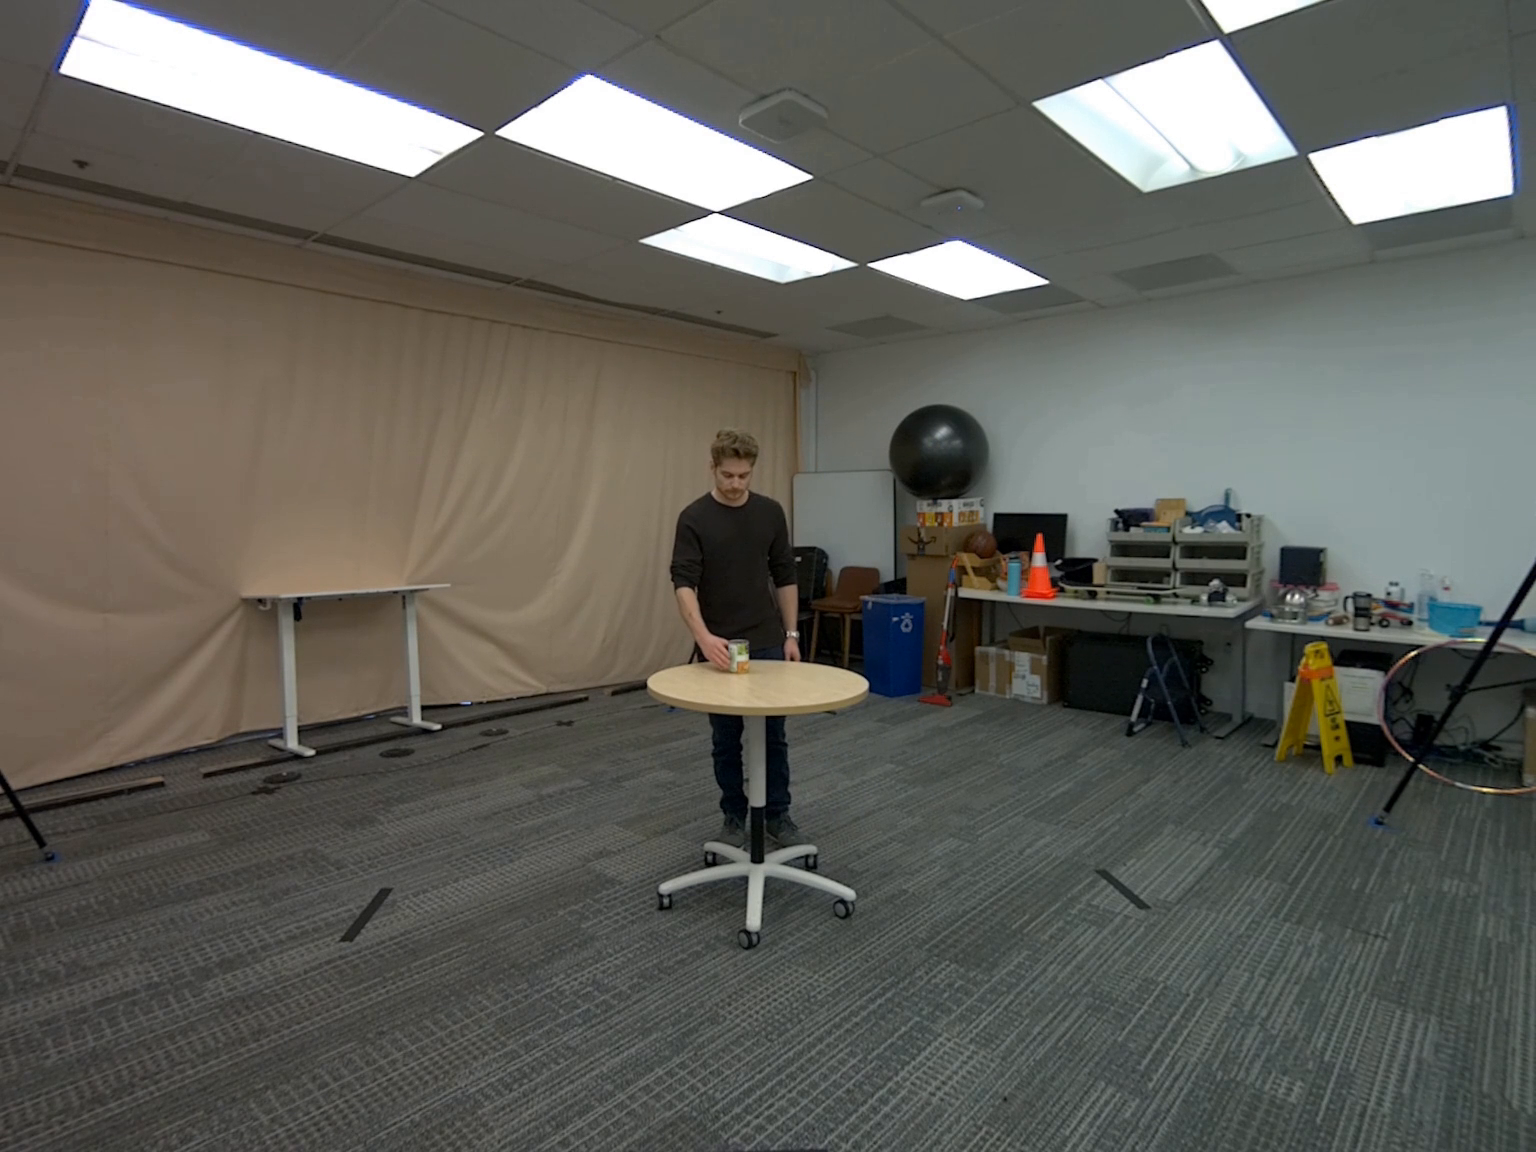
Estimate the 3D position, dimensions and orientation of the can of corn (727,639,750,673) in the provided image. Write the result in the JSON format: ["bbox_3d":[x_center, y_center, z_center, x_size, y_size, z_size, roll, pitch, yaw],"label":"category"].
[{"bbox_3d":[-0.112,0.297,3.072,0.074,0.111,0.074,-5,4,-1],"label":"can of corn"}]
